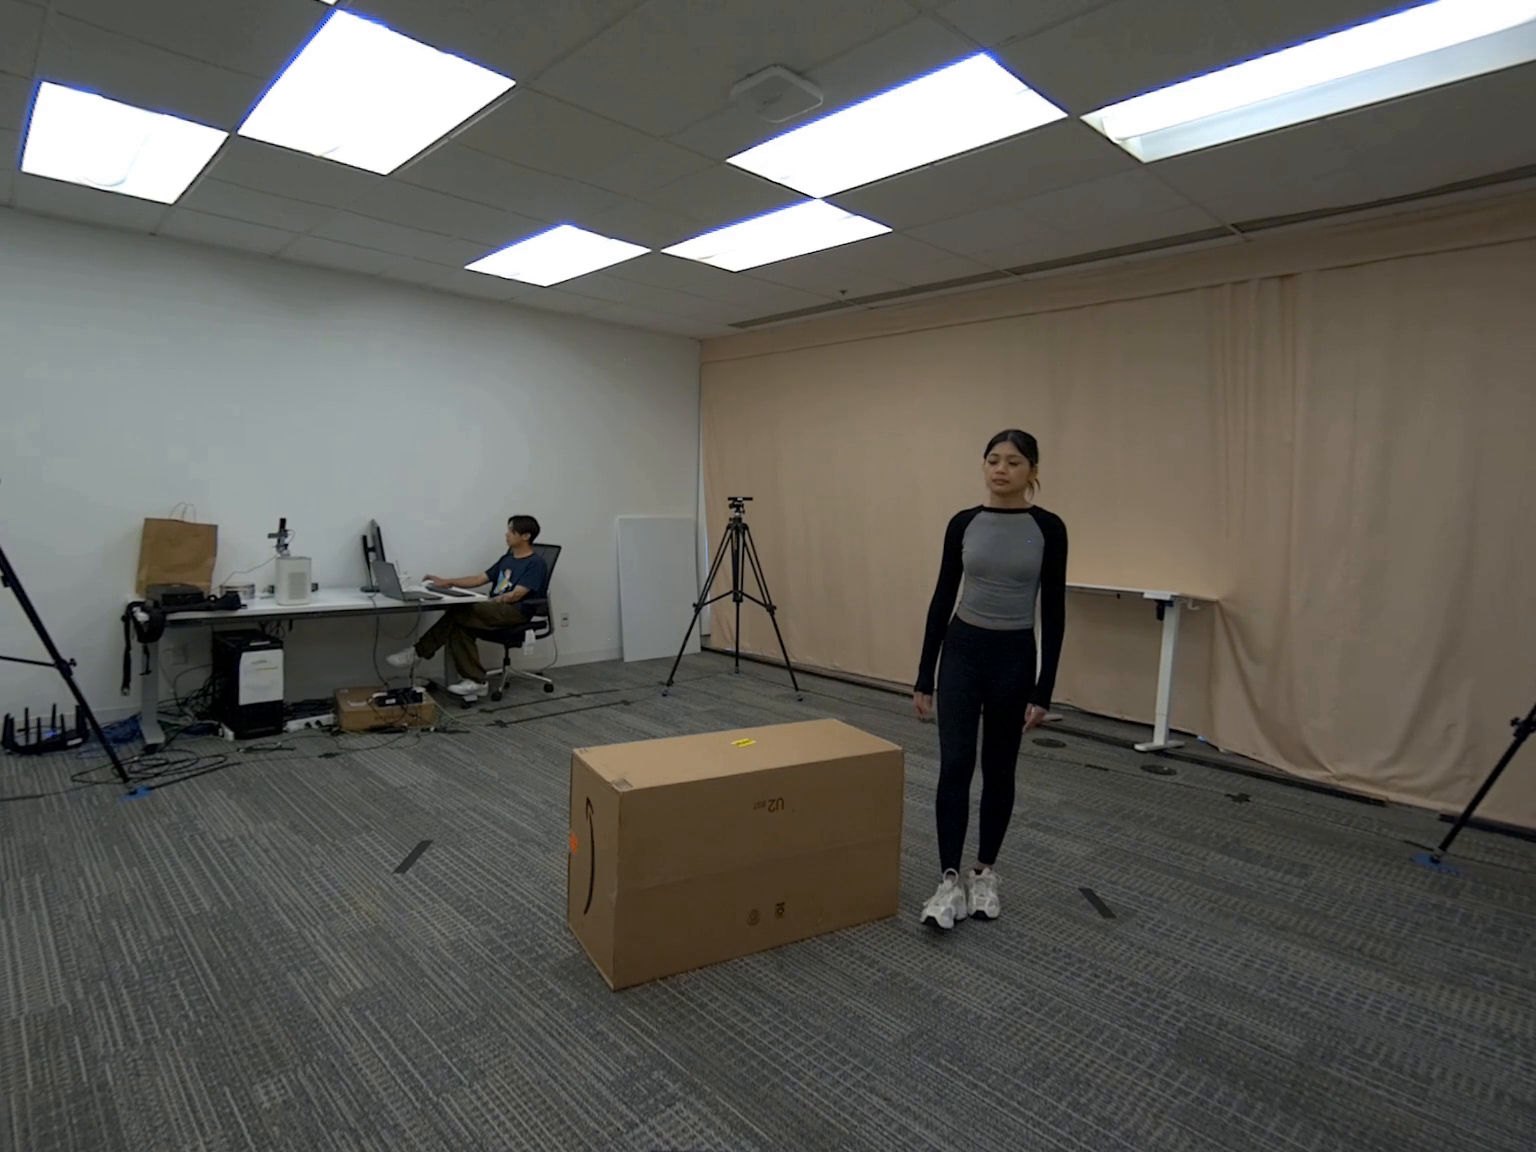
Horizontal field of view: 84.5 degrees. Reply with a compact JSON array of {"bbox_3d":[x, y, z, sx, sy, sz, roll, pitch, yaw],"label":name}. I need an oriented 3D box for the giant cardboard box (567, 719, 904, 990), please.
[{"bbox_3d":[-0.102,0.853,2.770,1.005,0.576,0.436,-1,5,-30],"label":"giant cardboard box"}]
